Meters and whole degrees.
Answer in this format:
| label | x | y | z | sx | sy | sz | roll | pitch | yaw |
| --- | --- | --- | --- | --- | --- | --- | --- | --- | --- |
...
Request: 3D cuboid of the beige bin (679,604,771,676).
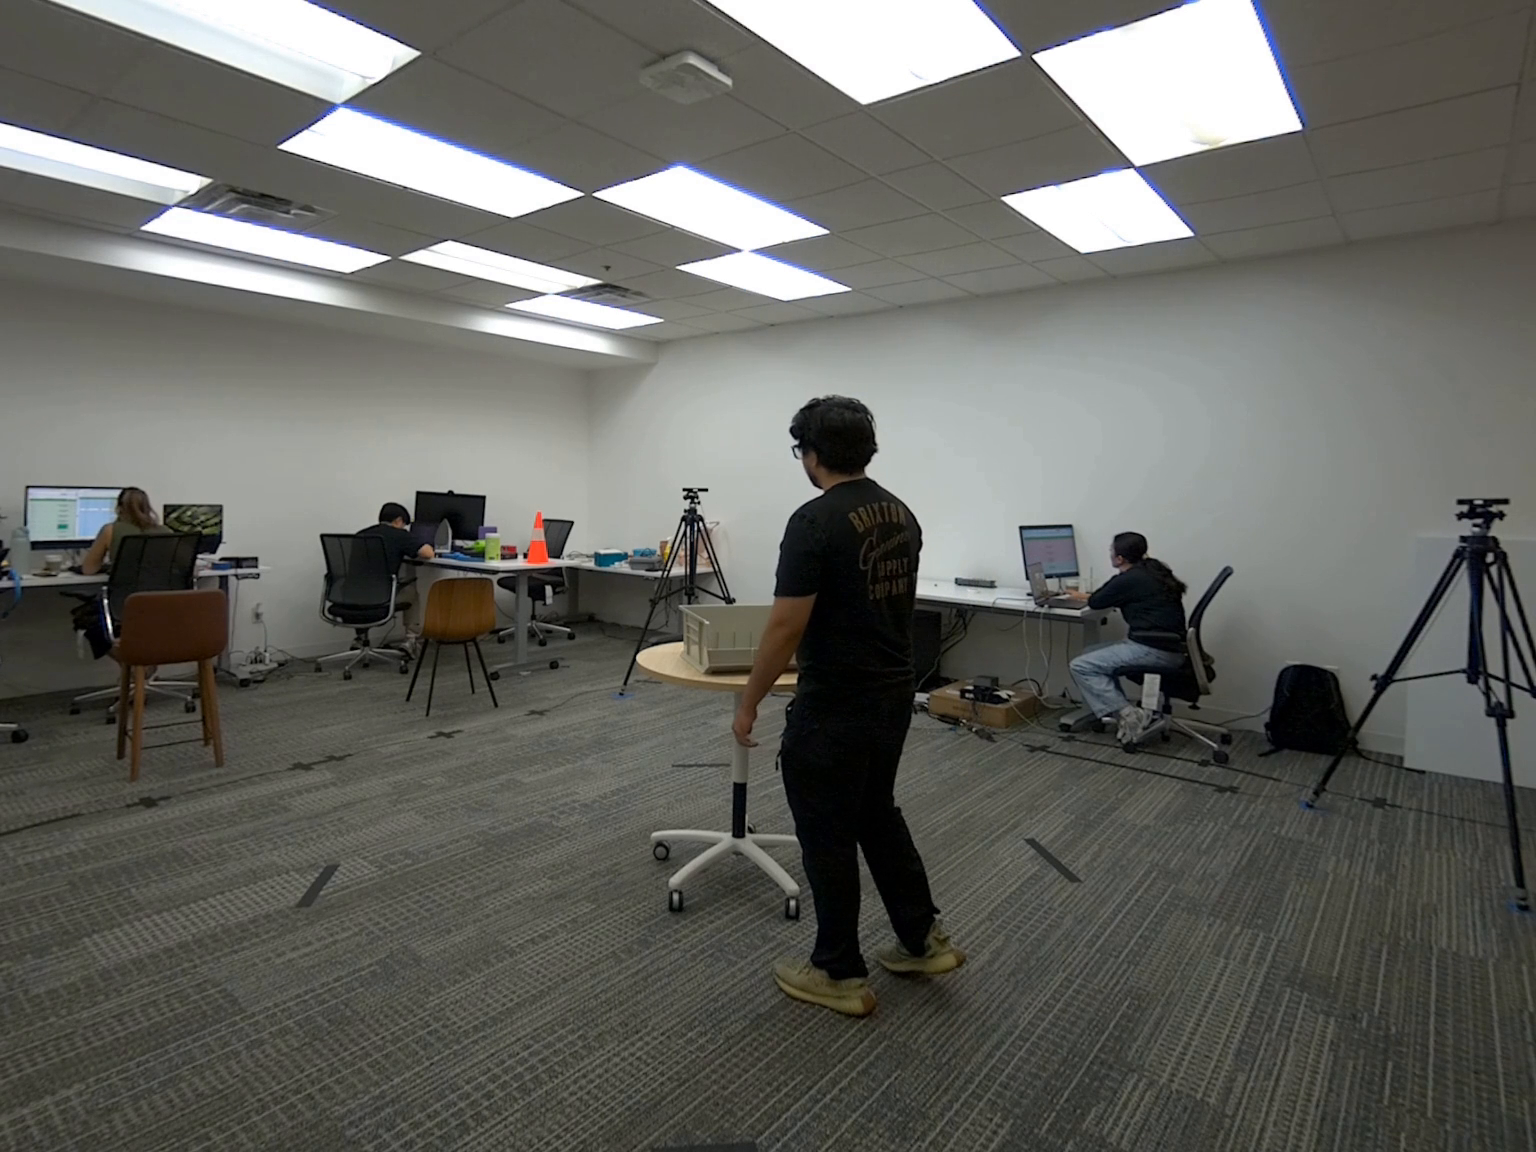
| label | x | y | z | sx | sy | sz | roll | pitch | yaw |
| --- | --- | --- | --- | --- | --- | --- | --- | --- | --- |
| beige bin | -0.074 | 0.214 | 2.966 | 0.414 | 0.188 | 0.386 | -1 | 5 | -19 |
